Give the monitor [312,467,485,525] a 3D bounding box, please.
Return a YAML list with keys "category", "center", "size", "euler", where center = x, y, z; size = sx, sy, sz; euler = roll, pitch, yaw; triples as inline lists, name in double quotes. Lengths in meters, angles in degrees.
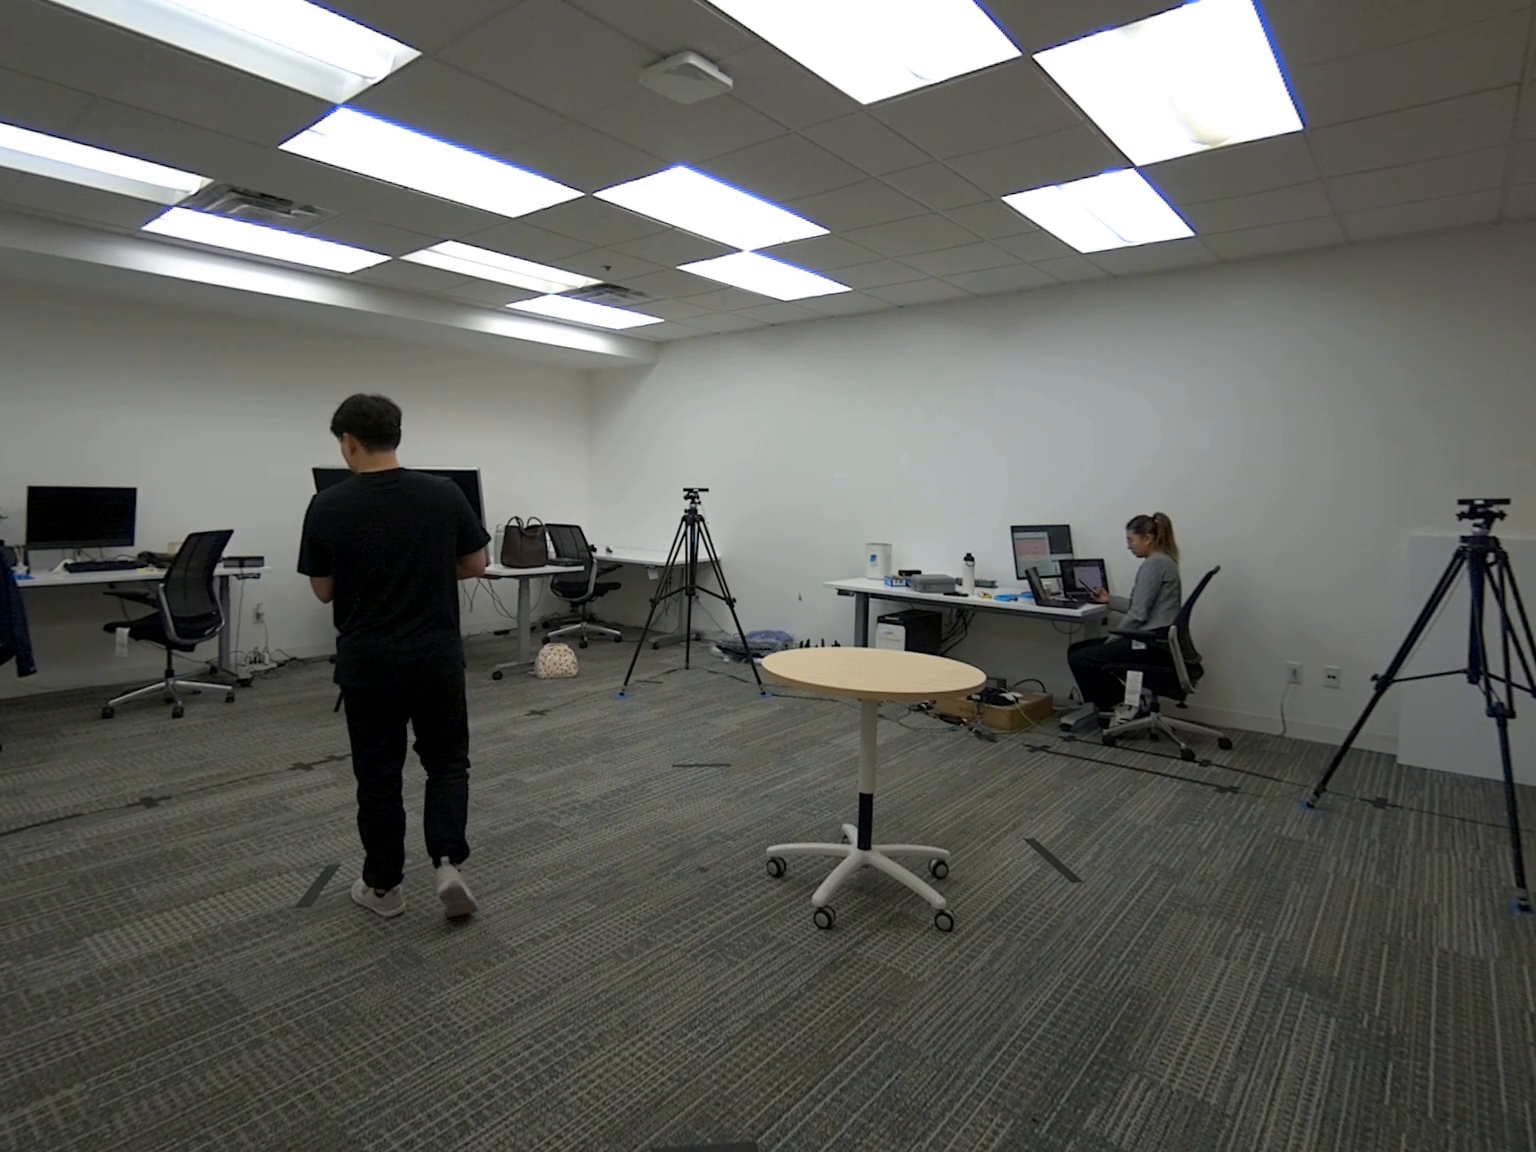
- category: "monitor"
  center: [-1.267, -0.100, 2.886]
  size: [0.538, 0.516, 0.189]
  euler: [1, 12, -1]
